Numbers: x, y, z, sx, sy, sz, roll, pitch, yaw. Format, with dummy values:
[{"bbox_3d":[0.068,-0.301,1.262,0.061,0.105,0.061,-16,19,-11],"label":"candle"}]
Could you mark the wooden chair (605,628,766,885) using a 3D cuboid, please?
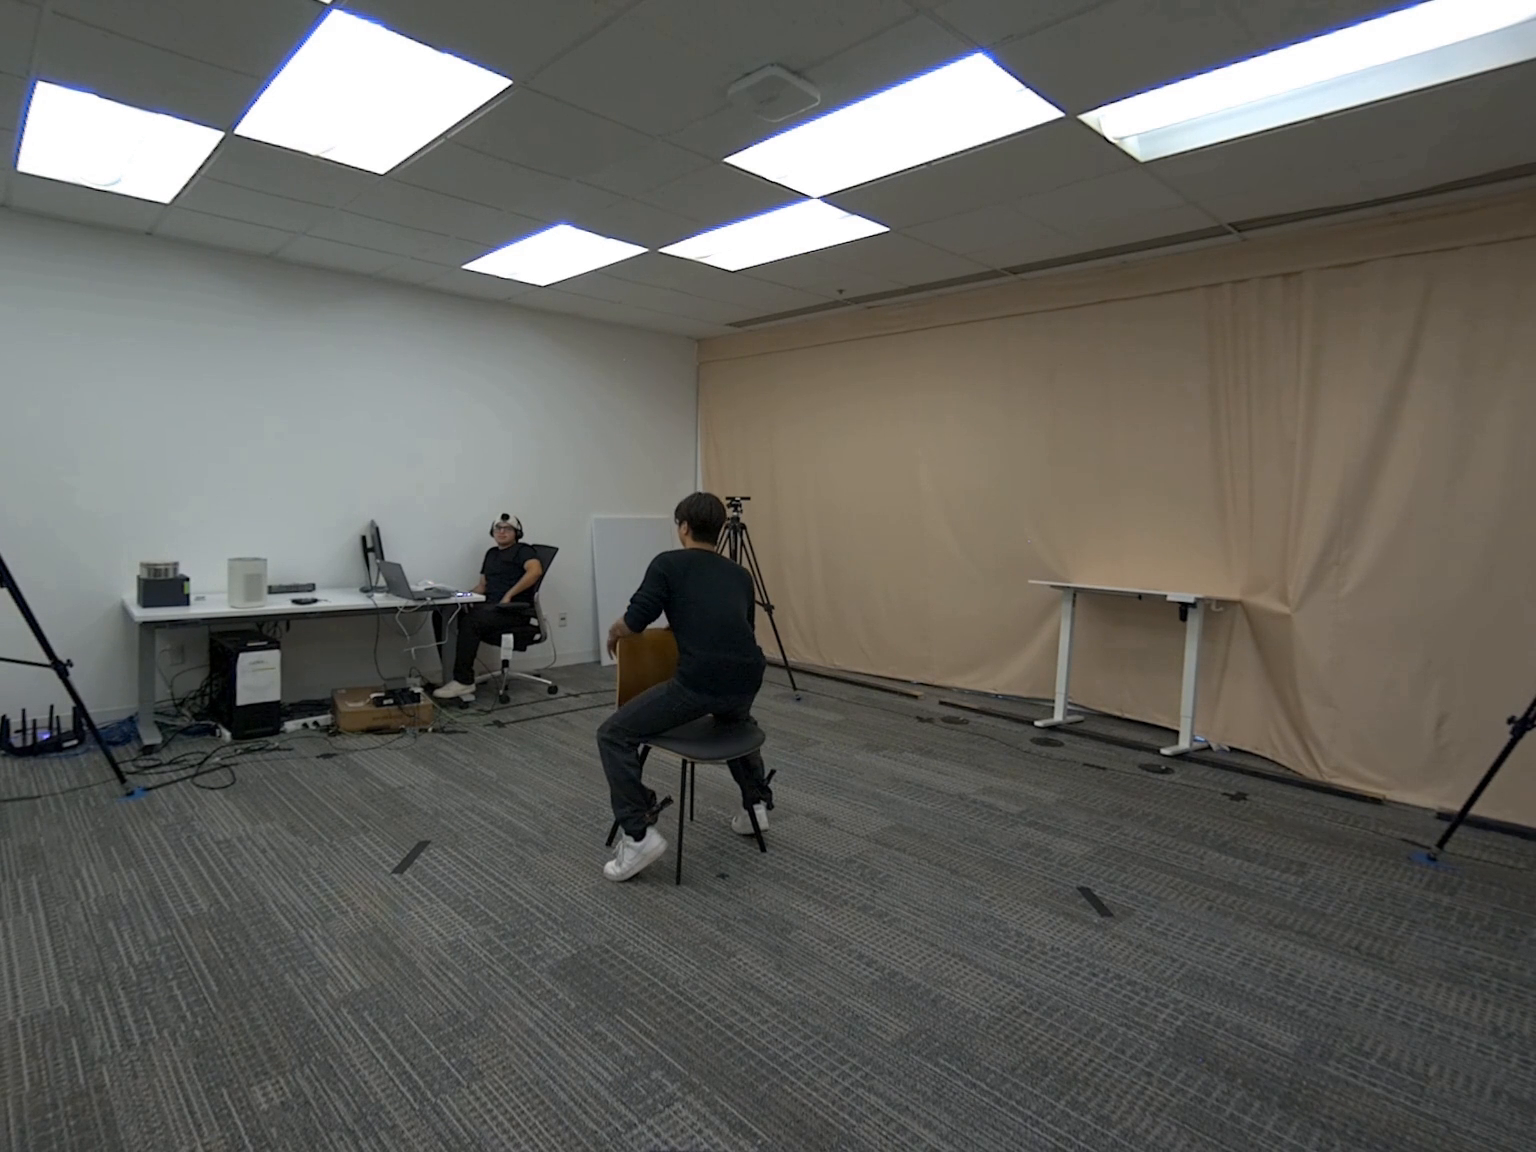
[{"bbox_3d":[-0.316,0.661,3.299,0.467,0.877,0.535,-1,0,-44],"label":"wooden chair"}]
